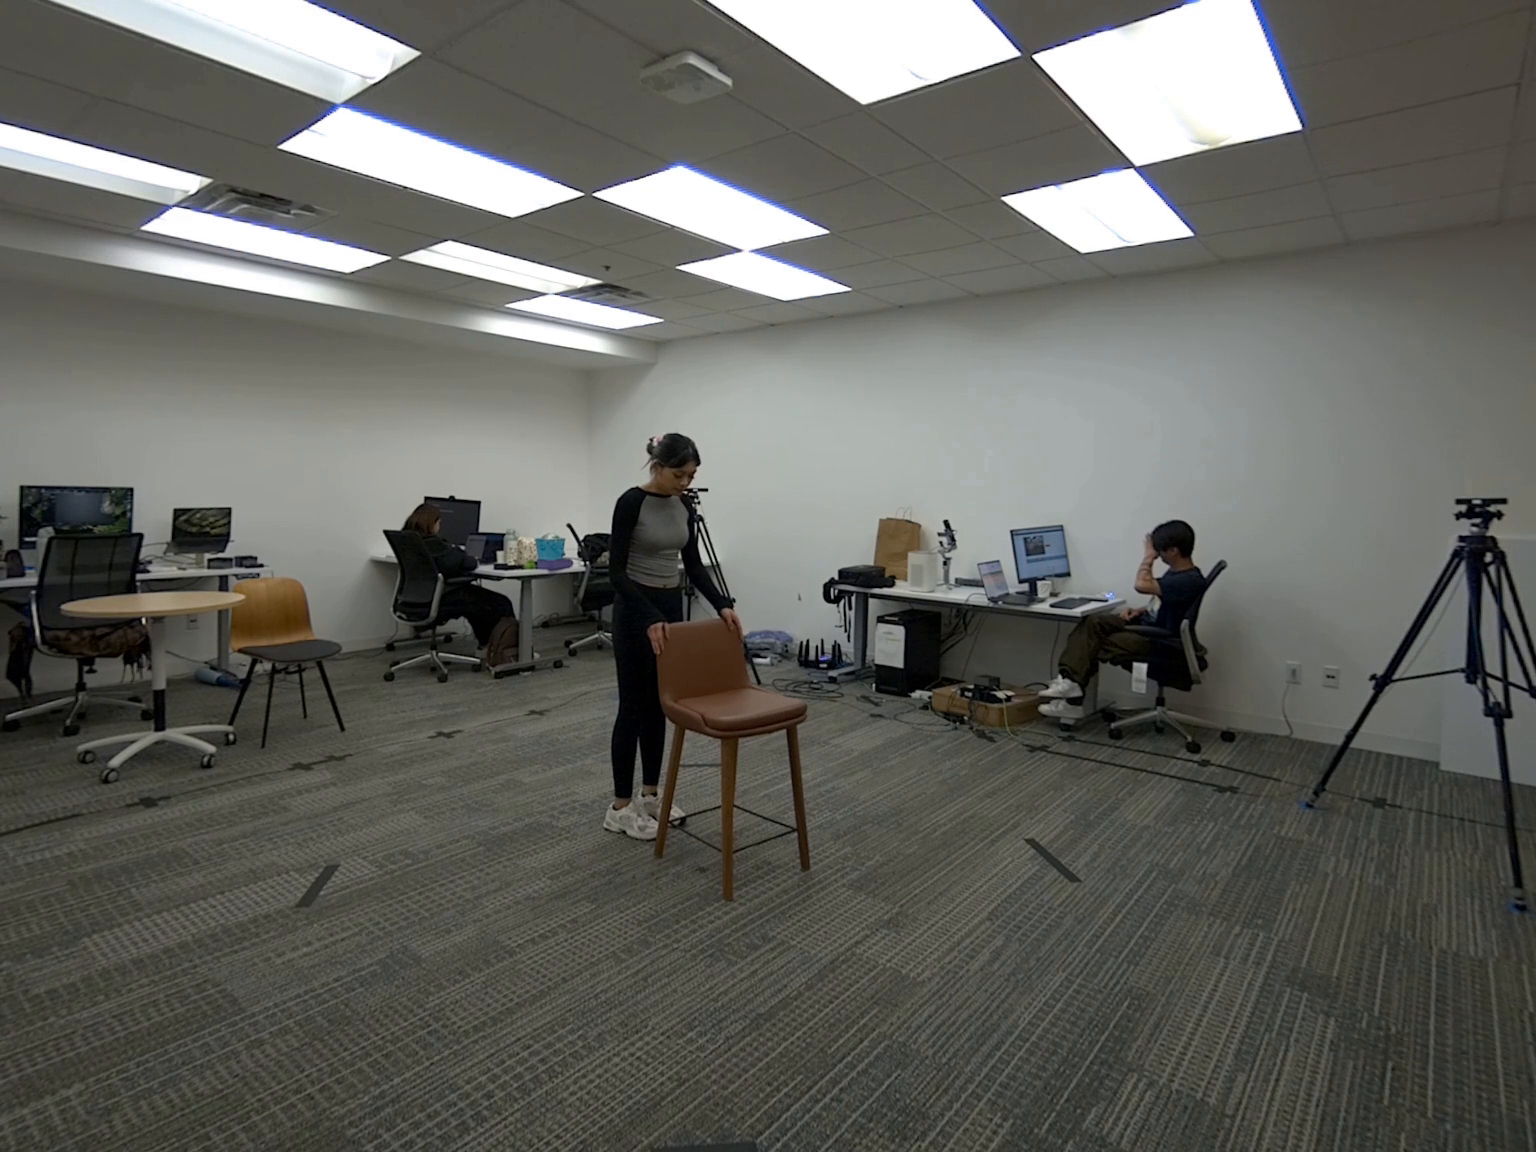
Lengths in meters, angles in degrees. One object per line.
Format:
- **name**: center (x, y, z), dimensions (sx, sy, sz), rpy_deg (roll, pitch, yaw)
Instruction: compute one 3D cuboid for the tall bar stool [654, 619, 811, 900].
- **tall bar stool**: center (-0.151, 0.626, 3.153), dimensions (0.443, 0.889, 0.482), rpy_deg (-2, 2, -42)
